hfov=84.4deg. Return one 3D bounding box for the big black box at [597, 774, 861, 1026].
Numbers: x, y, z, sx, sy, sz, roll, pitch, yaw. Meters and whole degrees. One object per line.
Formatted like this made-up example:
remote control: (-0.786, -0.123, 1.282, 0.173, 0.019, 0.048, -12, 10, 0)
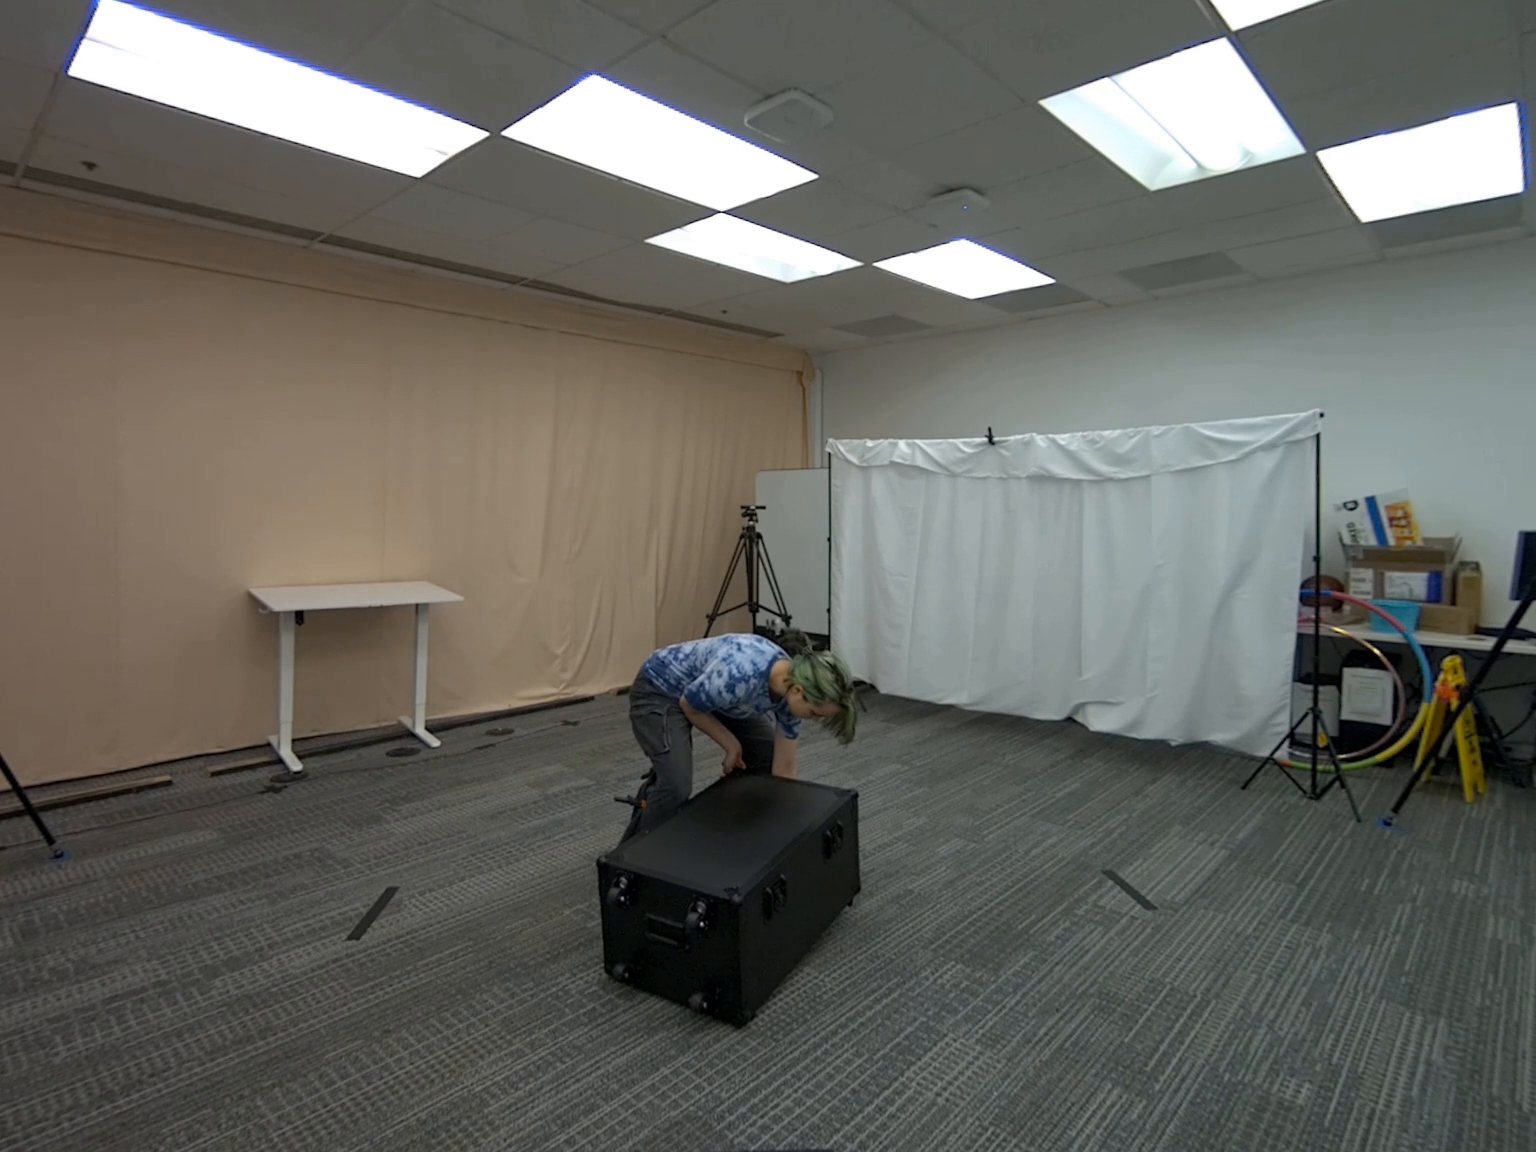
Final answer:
big black box: (-0.101, 0.964, 2.626, 0.537, 0.394, 0.840, 2, 8, 30)
